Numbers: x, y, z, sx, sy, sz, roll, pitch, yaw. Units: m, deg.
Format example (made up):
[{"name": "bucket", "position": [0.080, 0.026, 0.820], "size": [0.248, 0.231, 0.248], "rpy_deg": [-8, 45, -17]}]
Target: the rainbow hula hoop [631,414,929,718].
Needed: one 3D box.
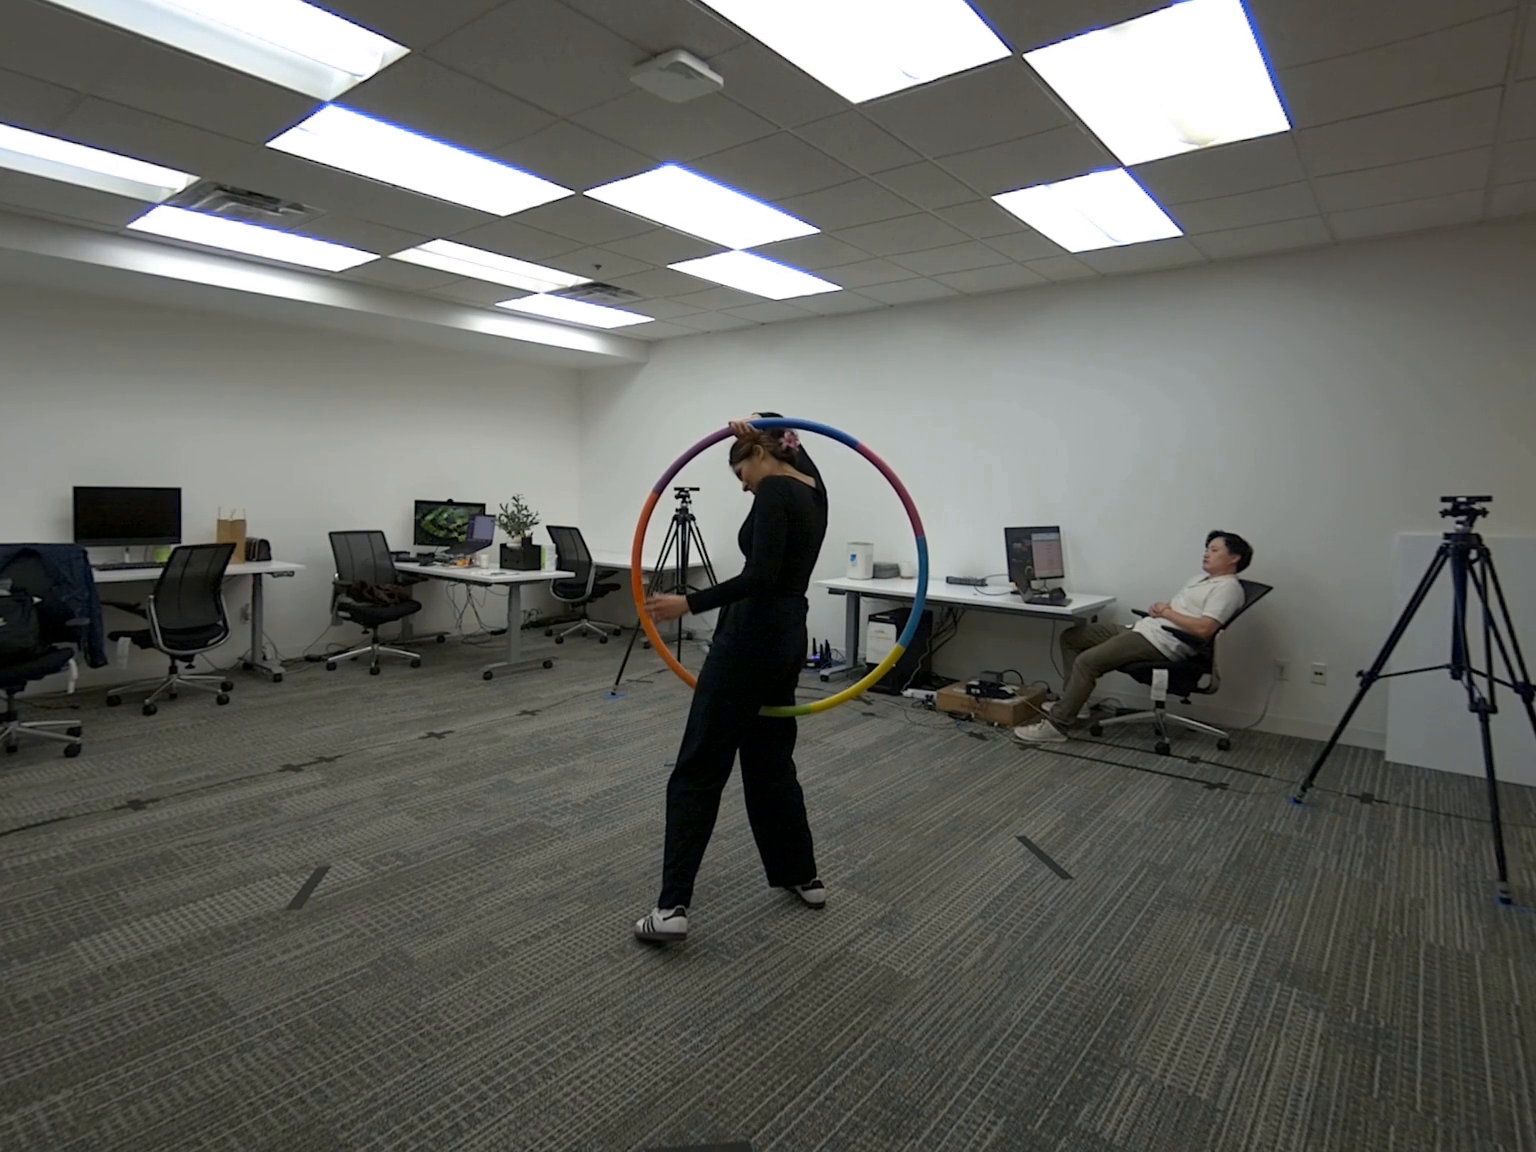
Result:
[{"name": "rainbow hula hoop", "position": [0.011, -0.024, 2.808], "size": [0.982, 0.976, 0.035], "rpy_deg": [1, 2, 4]}]
